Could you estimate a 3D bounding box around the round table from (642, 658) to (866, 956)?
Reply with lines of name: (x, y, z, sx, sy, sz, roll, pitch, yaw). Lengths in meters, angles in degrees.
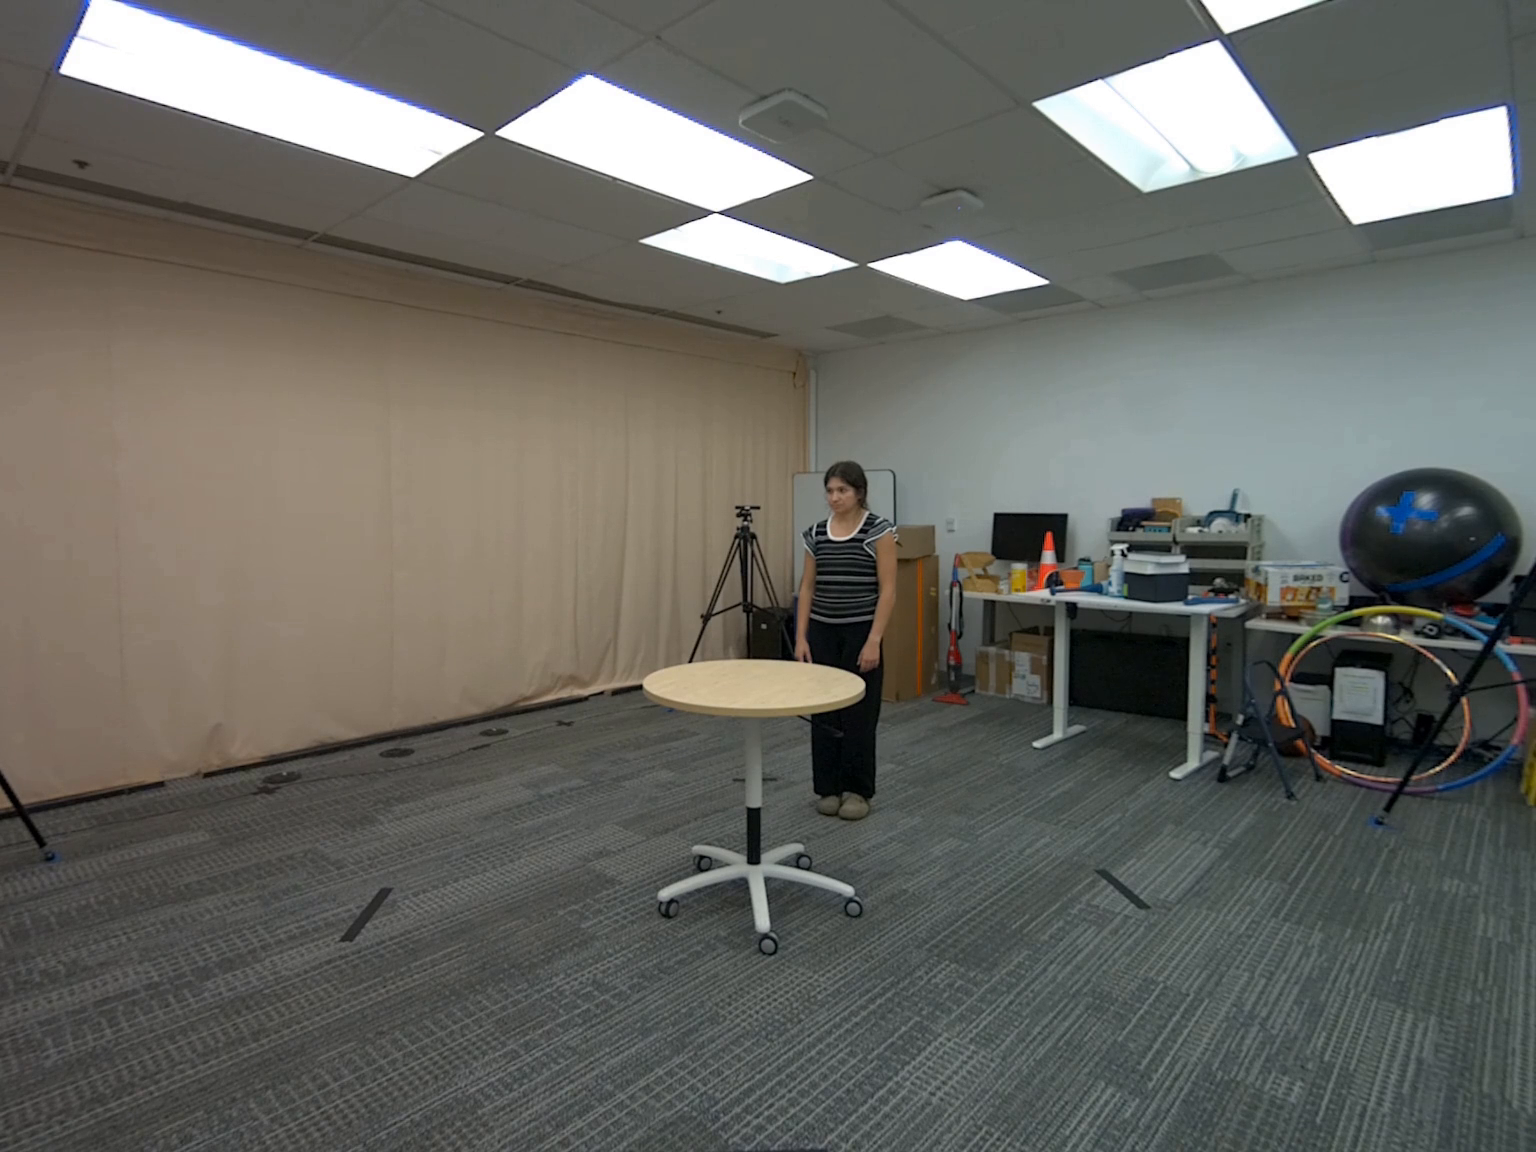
round table: (-0.047, 0.757, 2.945, 0.763, 0.792, 0.767, 0, 4, -2)
